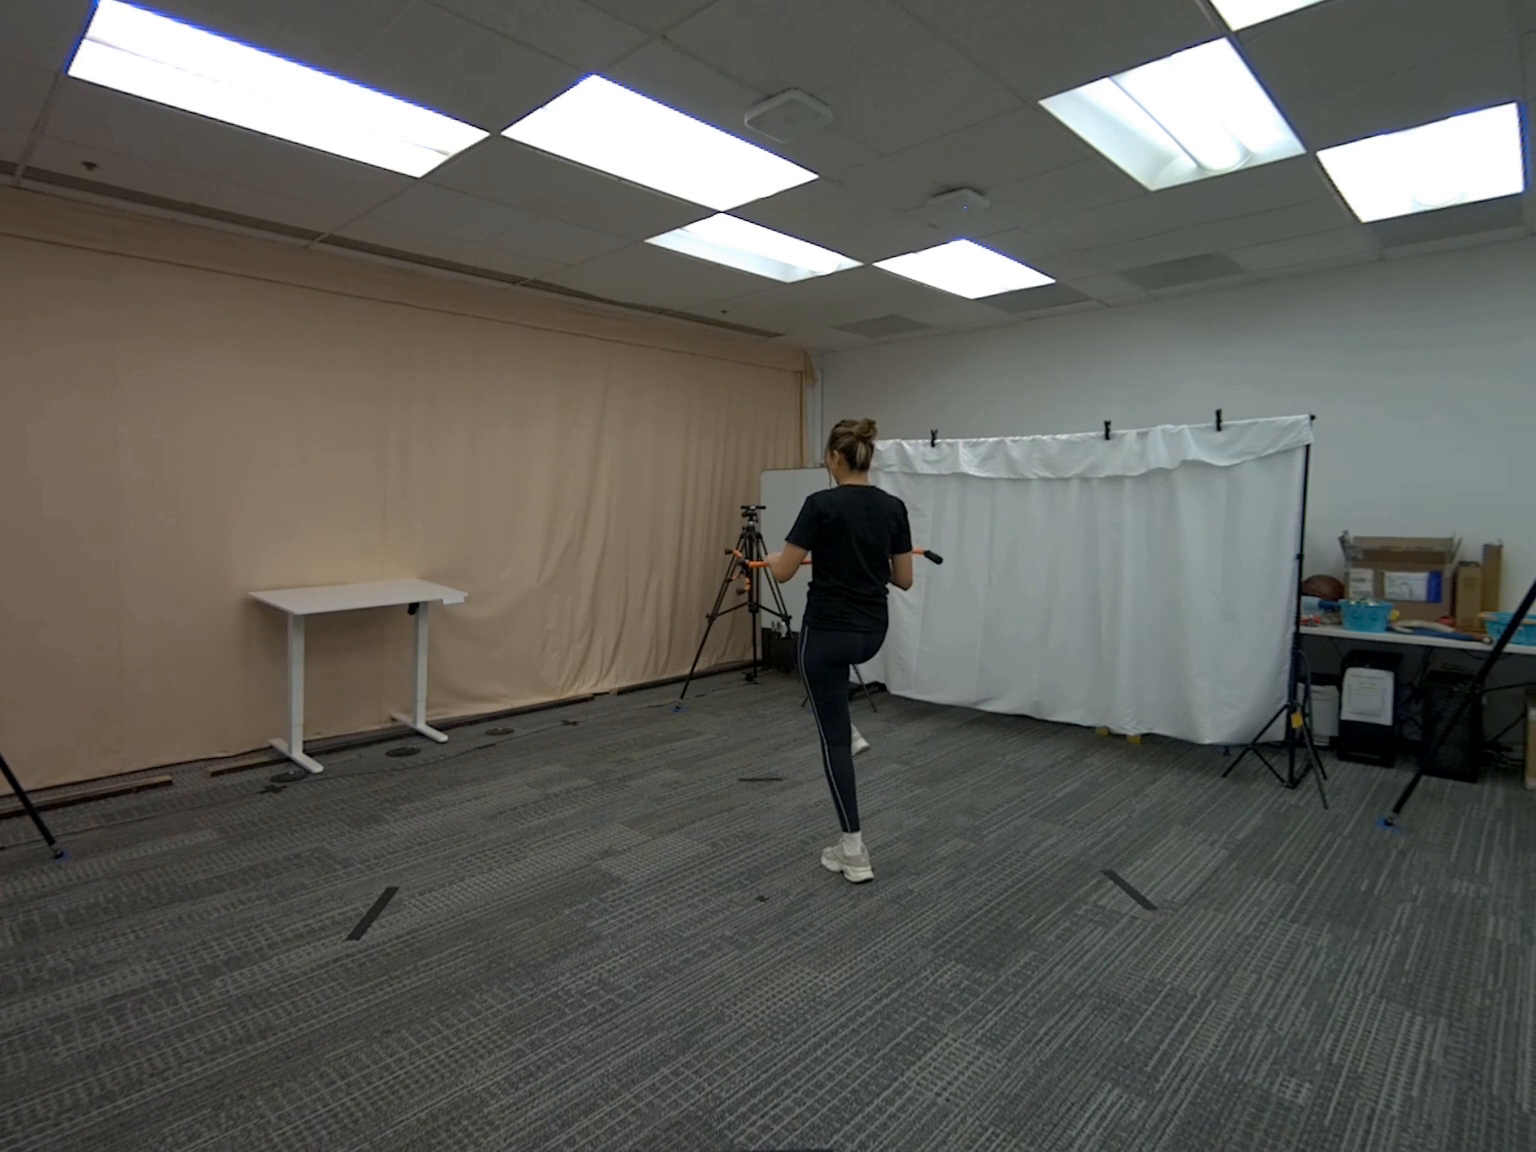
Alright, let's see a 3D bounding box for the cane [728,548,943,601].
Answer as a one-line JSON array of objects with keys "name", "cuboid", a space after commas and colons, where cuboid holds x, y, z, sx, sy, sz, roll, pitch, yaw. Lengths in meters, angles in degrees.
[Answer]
[{"name": "cane", "cuboid": [0.272, -0.057, 3.614, 0.894, 0.150, 0.211, -4, 16, -15]}]
